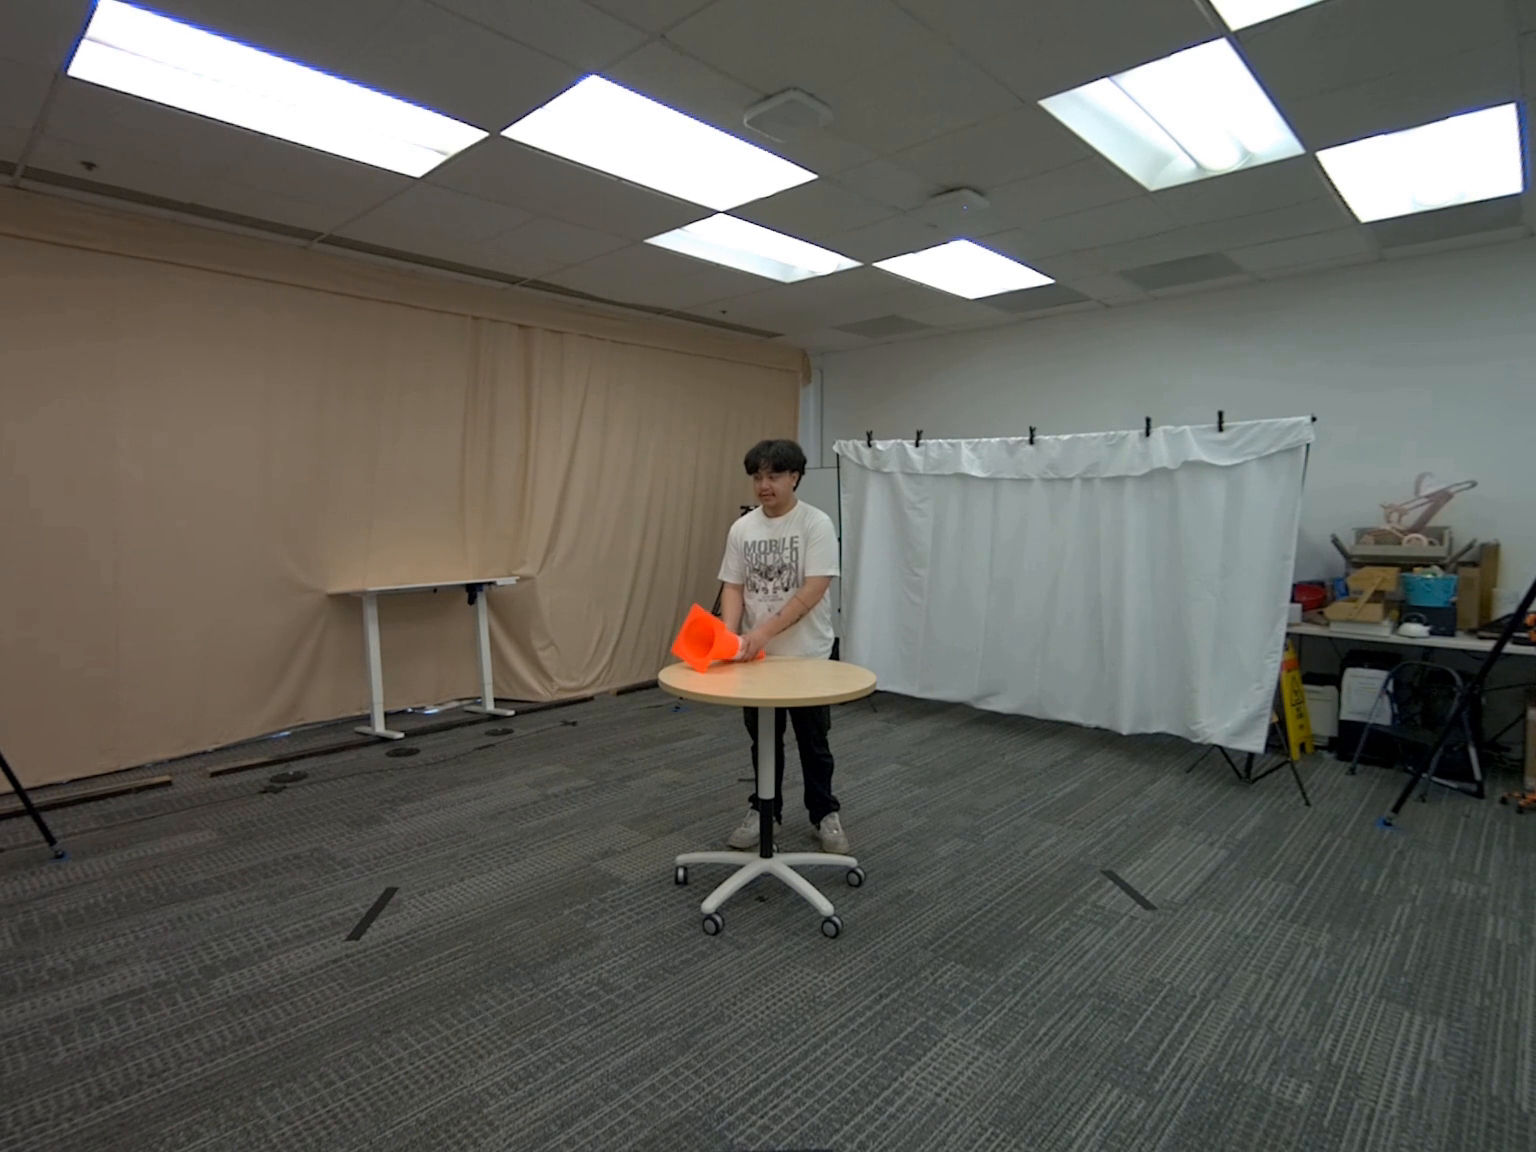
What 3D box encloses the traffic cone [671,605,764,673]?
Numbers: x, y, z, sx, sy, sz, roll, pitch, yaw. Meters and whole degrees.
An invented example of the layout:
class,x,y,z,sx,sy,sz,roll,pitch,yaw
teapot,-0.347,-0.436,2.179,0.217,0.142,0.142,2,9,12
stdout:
class,x,y,z,sx,sy,sz,roll,pitch,yaw
traffic cone,-0.138,0.270,3.174,0.370,0.205,0.211,19,7,-46
